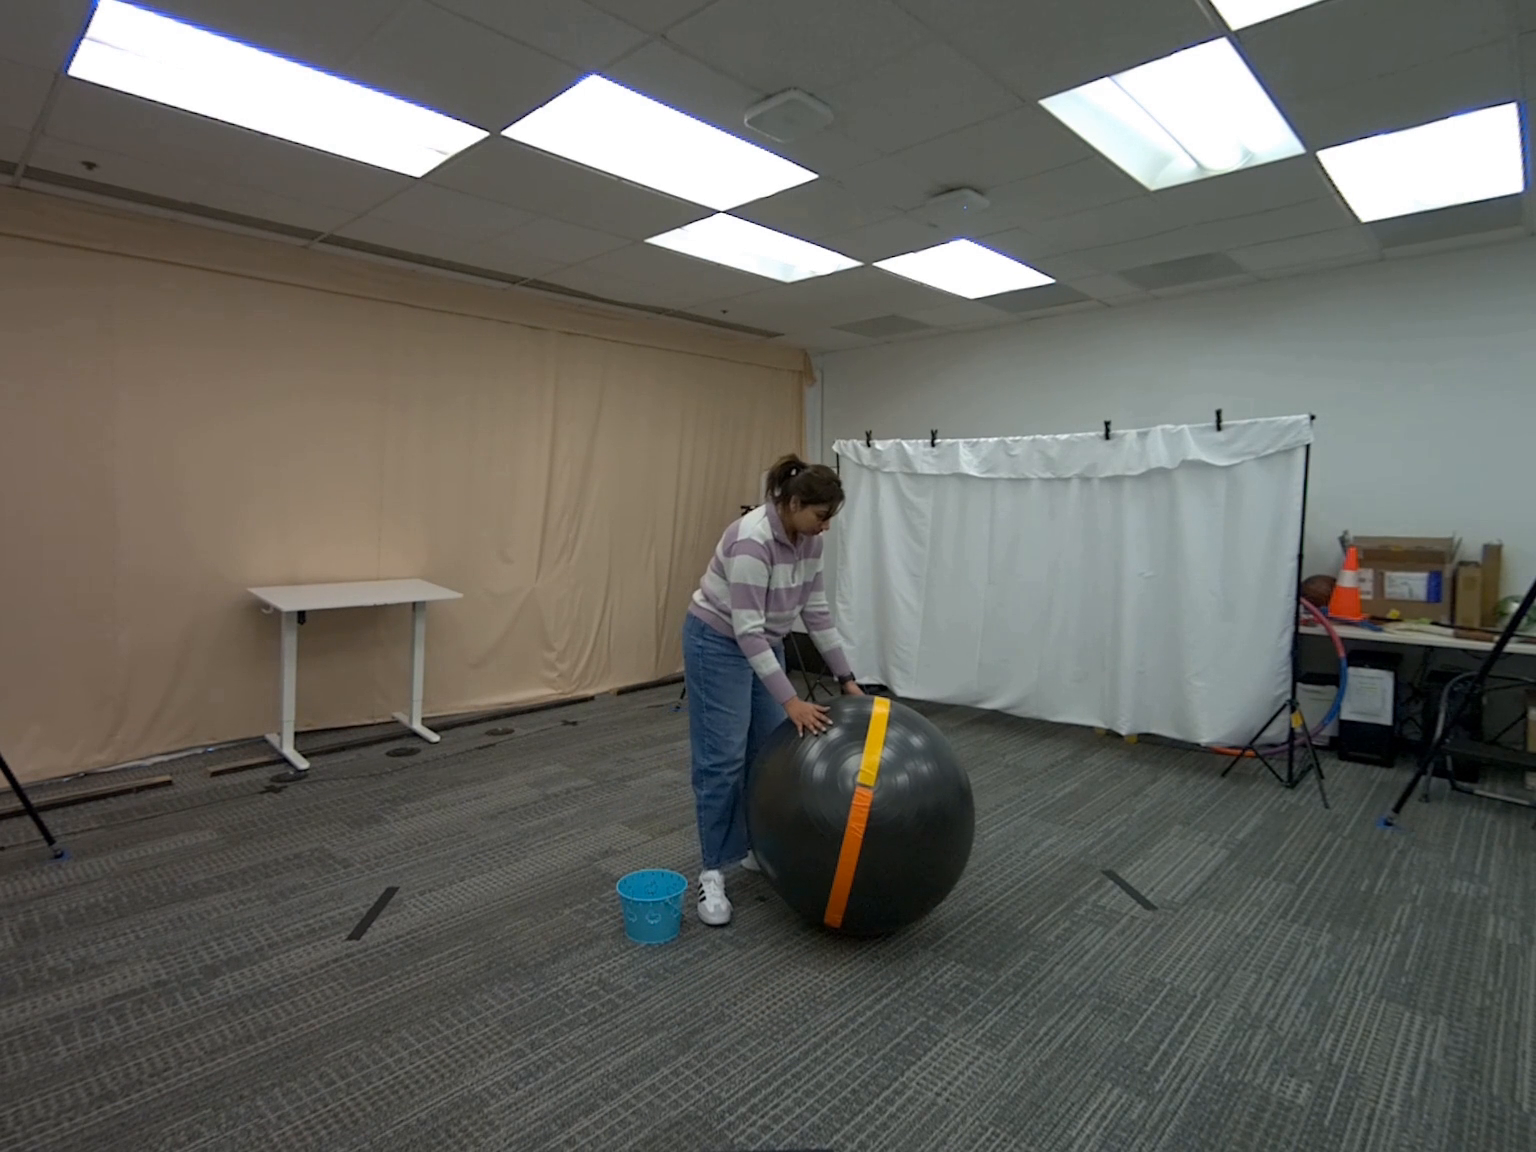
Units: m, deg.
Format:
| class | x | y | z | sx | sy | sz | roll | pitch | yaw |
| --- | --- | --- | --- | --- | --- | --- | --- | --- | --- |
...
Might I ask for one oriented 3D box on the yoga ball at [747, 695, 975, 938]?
| class | x | y | z | sx | sy | sz | roll | pitch | yaw |
| --- | --- | --- | --- | --- | --- | --- | --- | --- | --- |
| yoga ball | 0.313 | 0.787 | 2.815 | 0.757 | 0.756 | 0.760 | 0 | 4 | -2 |
